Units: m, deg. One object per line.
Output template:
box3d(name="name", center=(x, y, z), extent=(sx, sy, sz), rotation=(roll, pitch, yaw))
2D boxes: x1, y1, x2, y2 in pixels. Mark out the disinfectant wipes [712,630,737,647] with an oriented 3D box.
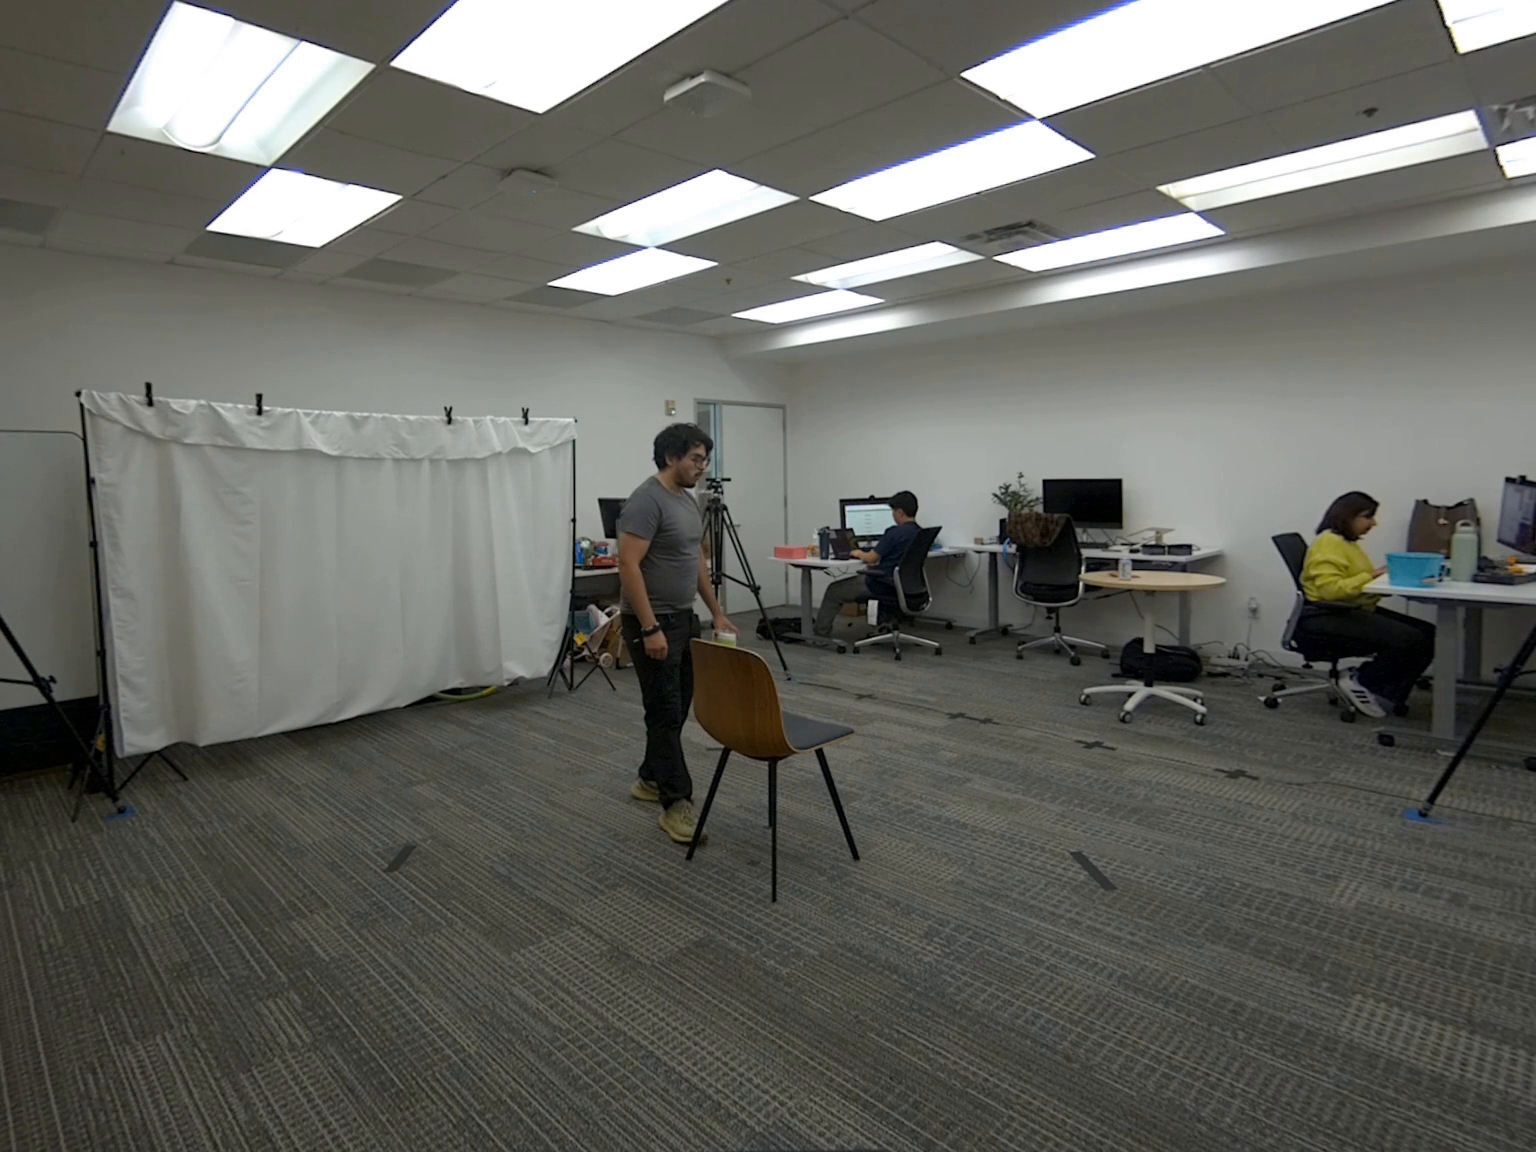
box3d(name="disinfectant wipes", center=(-0.206, 0.350, 3.786), extent=(0.117, 0.217, 0.118), rotation=(8, 3, -2))
